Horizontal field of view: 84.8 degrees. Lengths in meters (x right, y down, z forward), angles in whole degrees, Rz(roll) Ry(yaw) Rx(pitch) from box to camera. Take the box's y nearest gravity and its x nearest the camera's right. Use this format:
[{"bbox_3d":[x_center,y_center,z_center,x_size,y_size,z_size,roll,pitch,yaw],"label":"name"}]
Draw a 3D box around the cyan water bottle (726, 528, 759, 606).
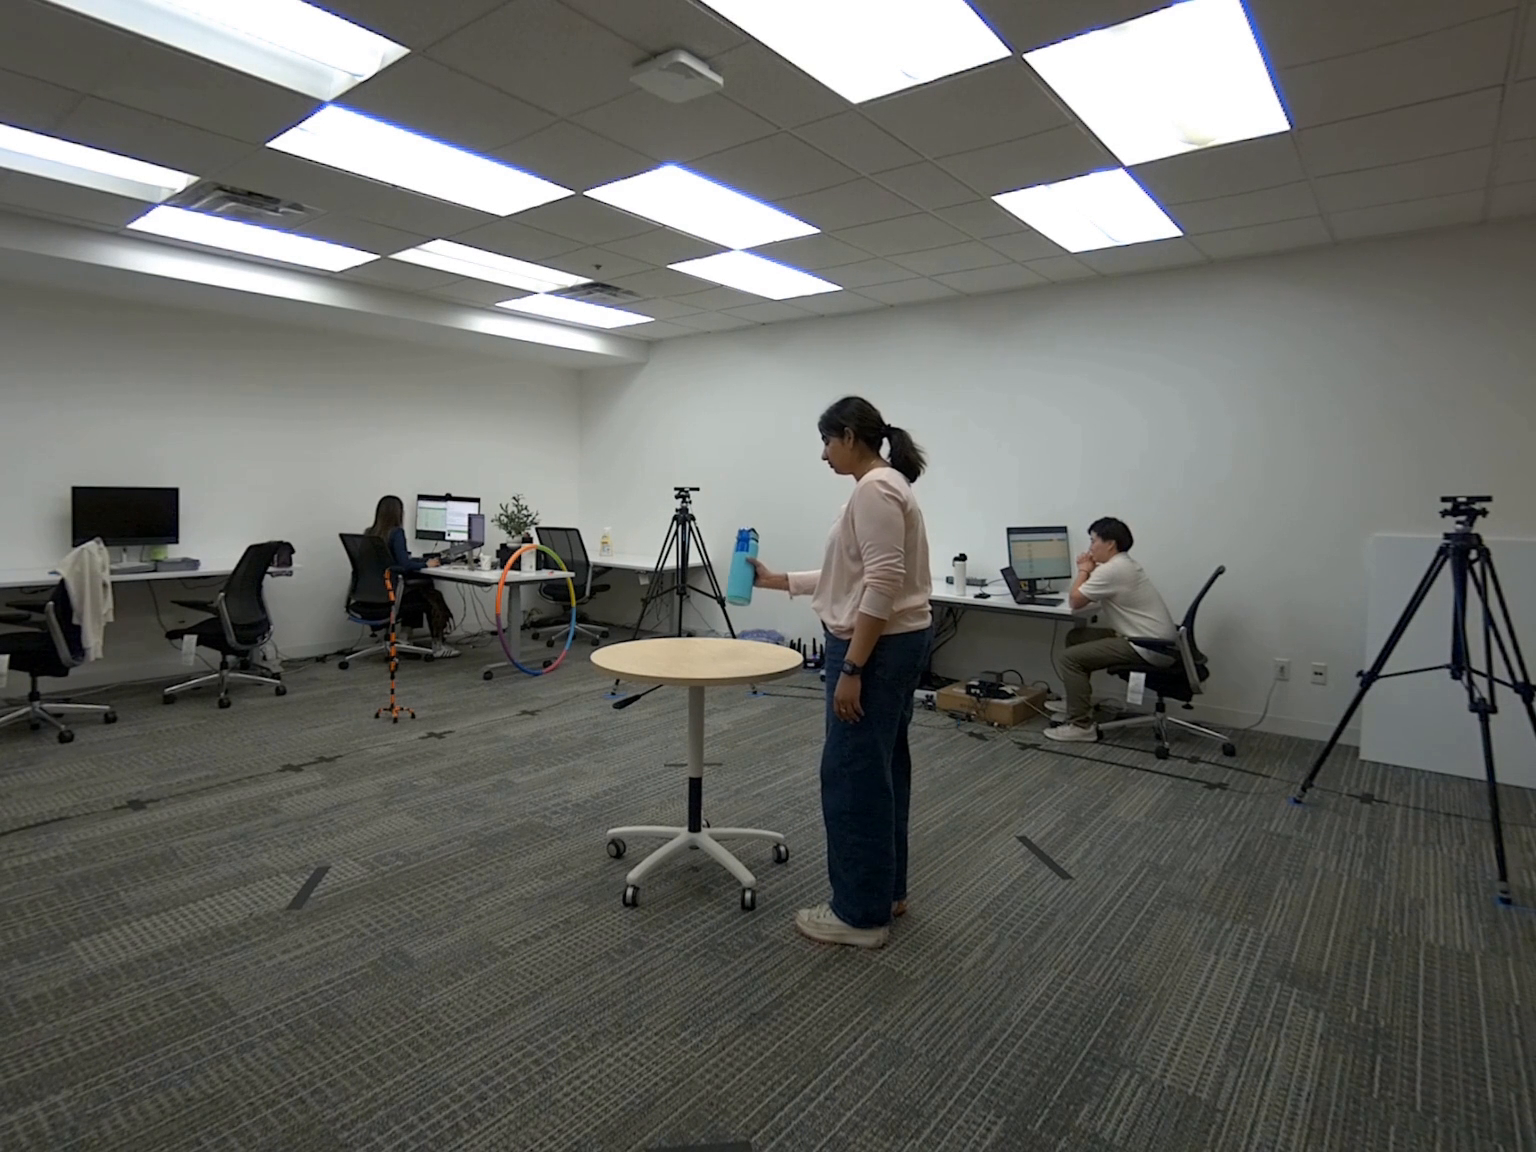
[{"bbox_3d":[-0.093,-0.043,3.007,0.092,0.287,0.091,7,-17,0],"label":"cyan water bottle"}]
